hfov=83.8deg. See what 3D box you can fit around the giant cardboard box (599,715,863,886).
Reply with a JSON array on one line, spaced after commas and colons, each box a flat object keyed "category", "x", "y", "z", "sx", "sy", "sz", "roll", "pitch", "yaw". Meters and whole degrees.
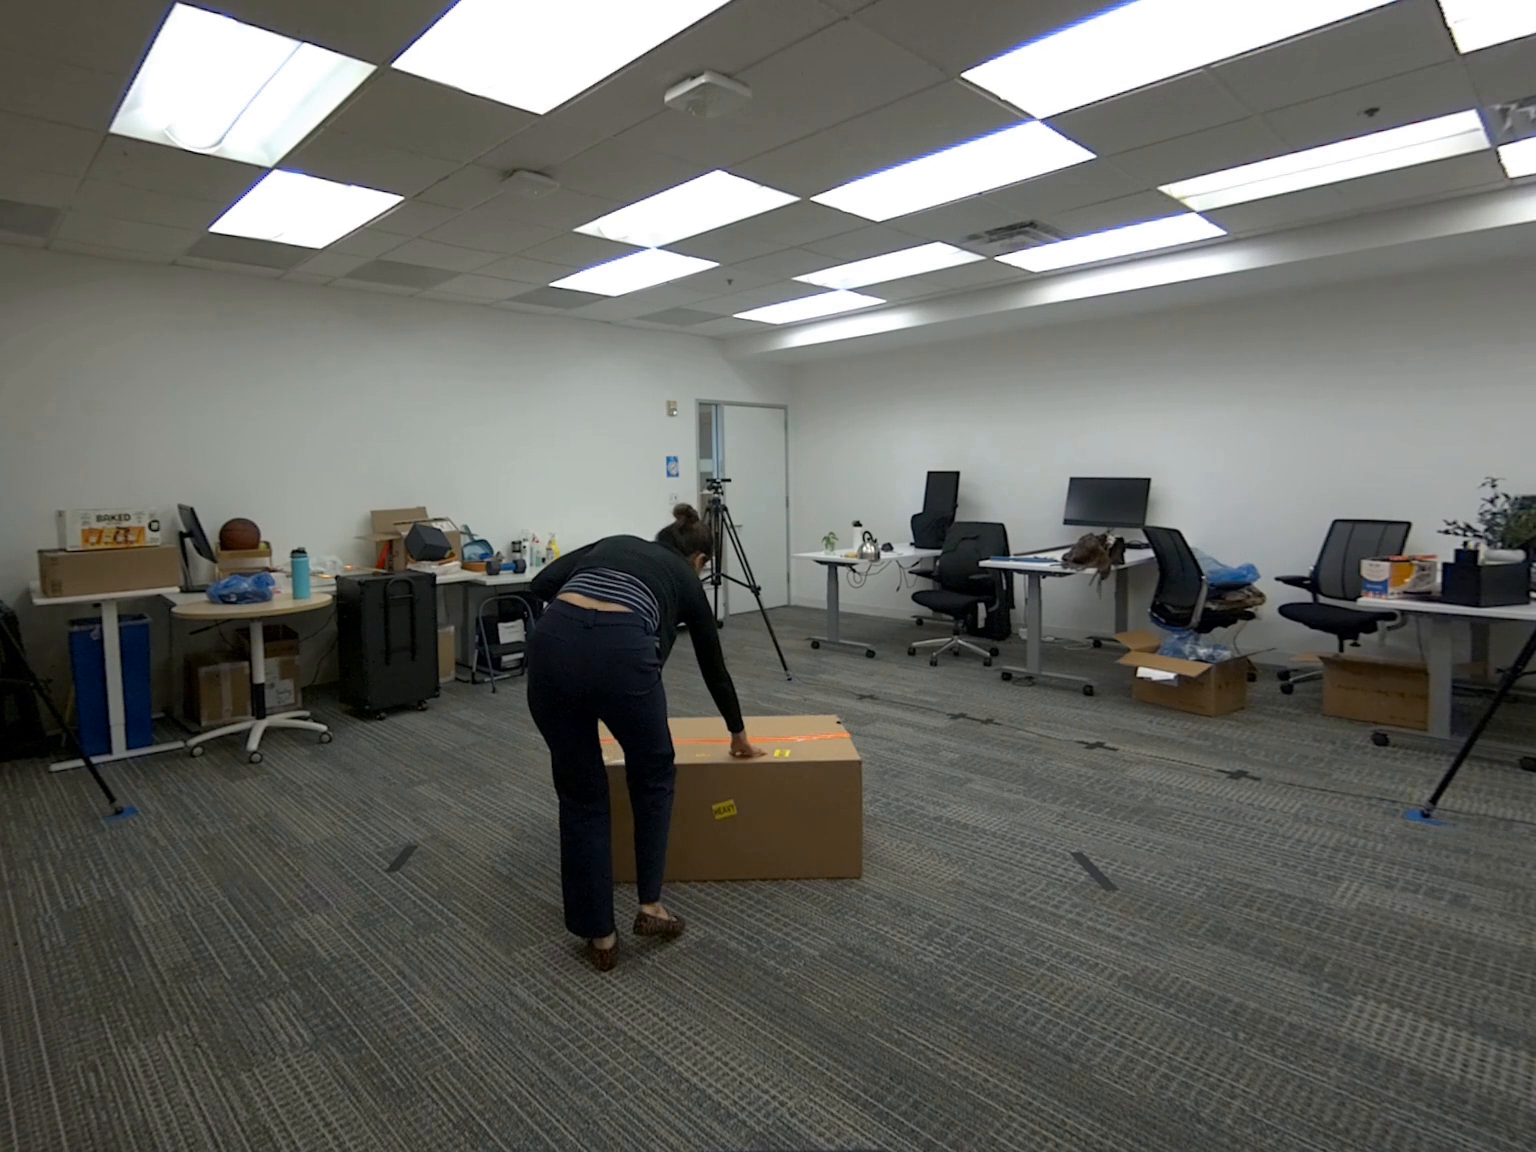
[{"category": "giant cardboard box", "x": -0.201, "y": 0.817, "z": 3.246, "sx": 1.025, "sy": 0.424, "sz": 0.581, "roll": -1, "pitch": 6, "yaw": -1}]
